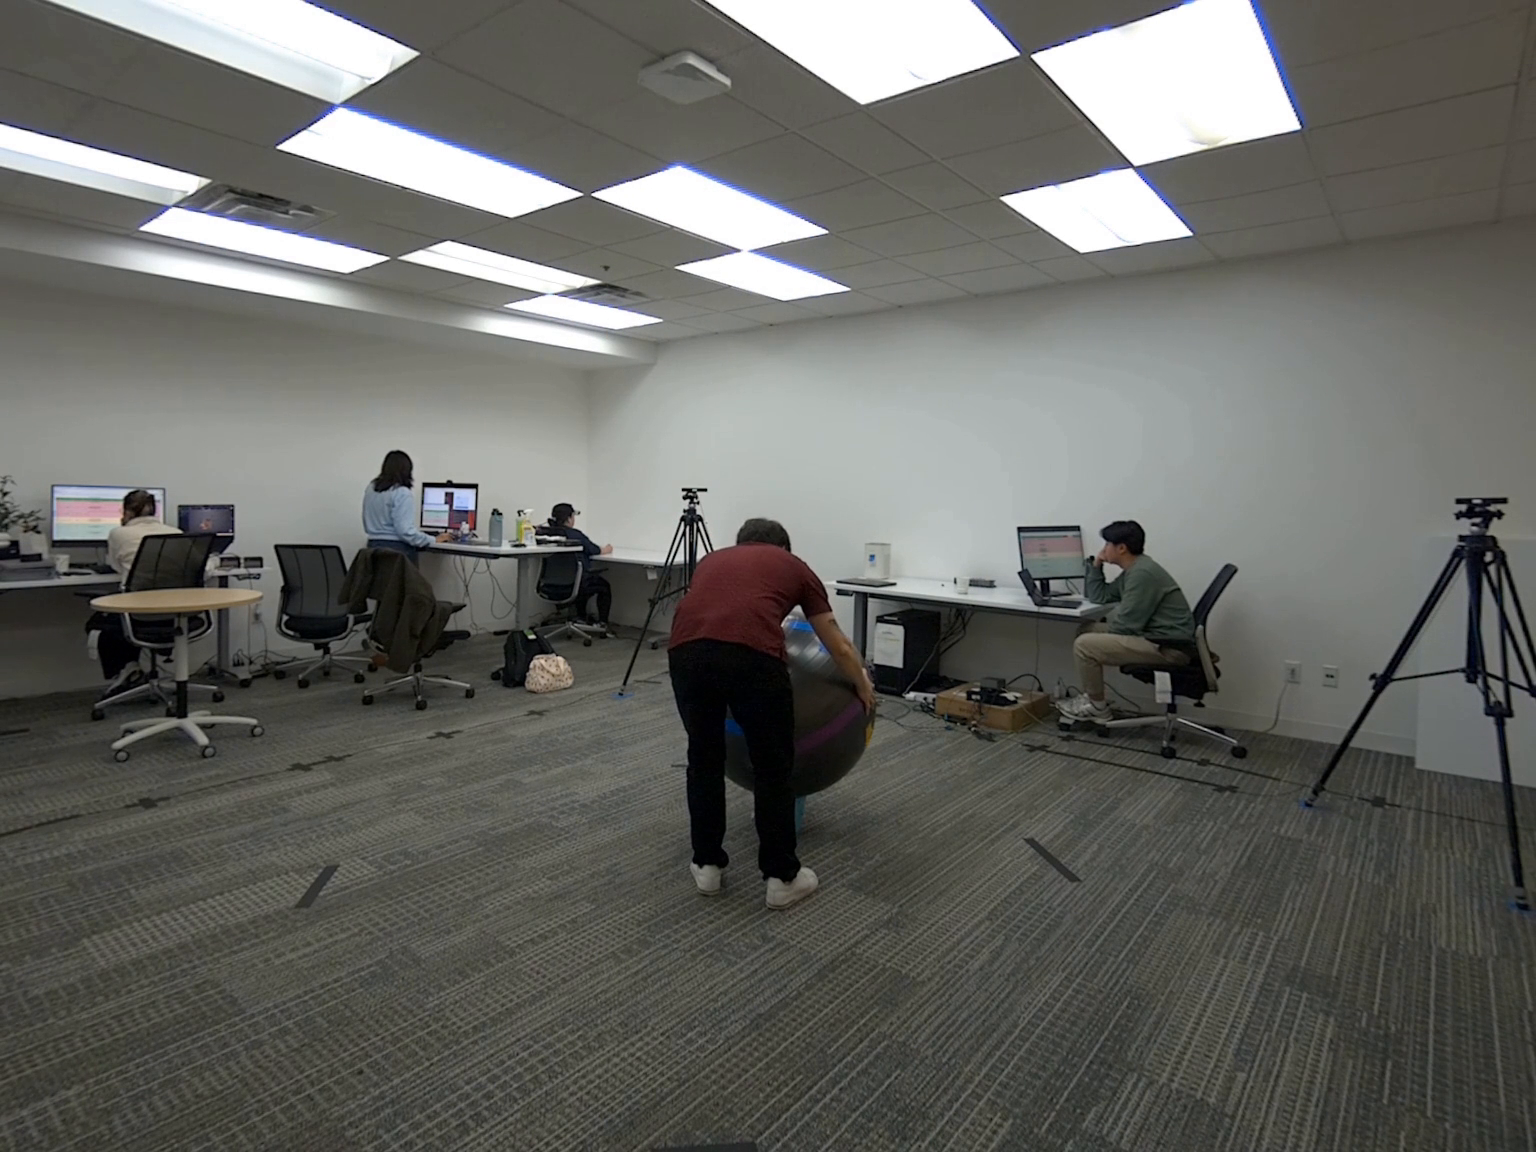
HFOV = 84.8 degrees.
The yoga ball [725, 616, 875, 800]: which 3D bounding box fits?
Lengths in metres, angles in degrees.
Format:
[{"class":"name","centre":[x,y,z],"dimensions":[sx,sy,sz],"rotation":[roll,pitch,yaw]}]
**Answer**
[{"class":"yoga ball","centre":[0.055,0.518,3.510],"dimensions":[0.757,0.756,0.762],"rotation":[1,4,-2]}]
